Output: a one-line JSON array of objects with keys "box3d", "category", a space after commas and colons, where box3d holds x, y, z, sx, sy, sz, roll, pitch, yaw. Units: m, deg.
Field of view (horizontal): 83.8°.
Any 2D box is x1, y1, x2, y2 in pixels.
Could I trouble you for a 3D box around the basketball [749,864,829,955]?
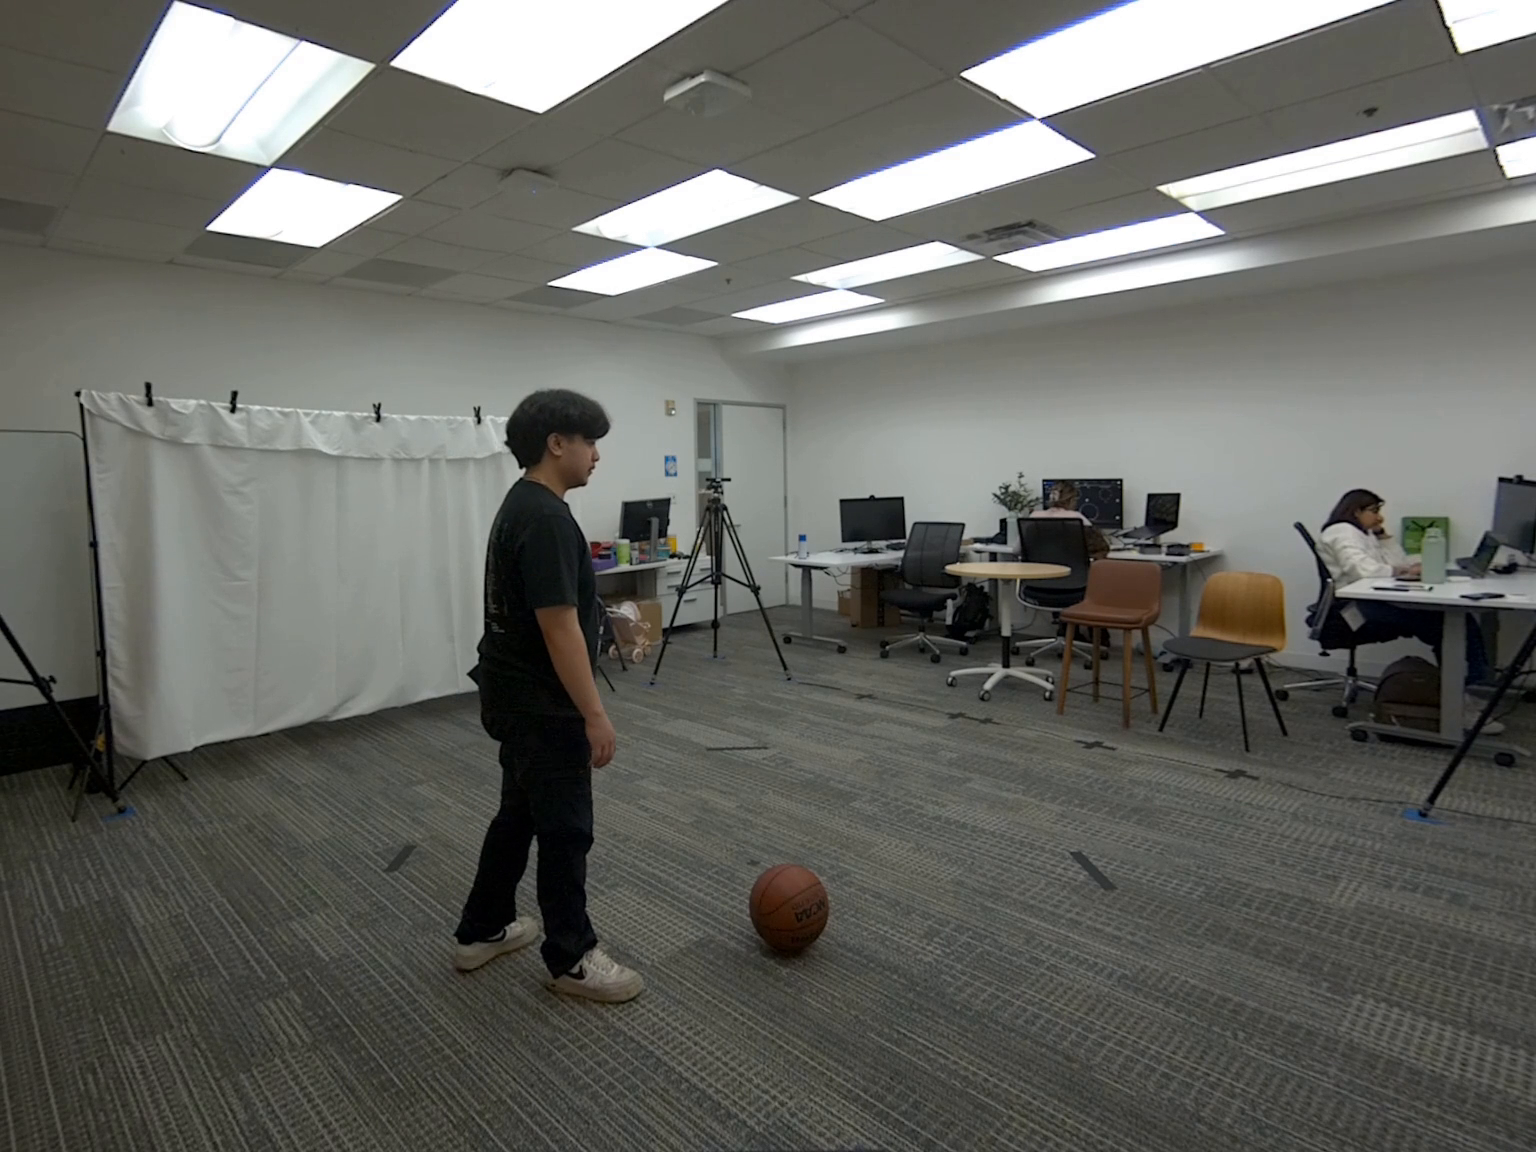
[{"box3d": [0.065, 0.982, 2.556, 0.236, 0.235, 0.237, -1, 5, -2], "category": "basketball"}]
